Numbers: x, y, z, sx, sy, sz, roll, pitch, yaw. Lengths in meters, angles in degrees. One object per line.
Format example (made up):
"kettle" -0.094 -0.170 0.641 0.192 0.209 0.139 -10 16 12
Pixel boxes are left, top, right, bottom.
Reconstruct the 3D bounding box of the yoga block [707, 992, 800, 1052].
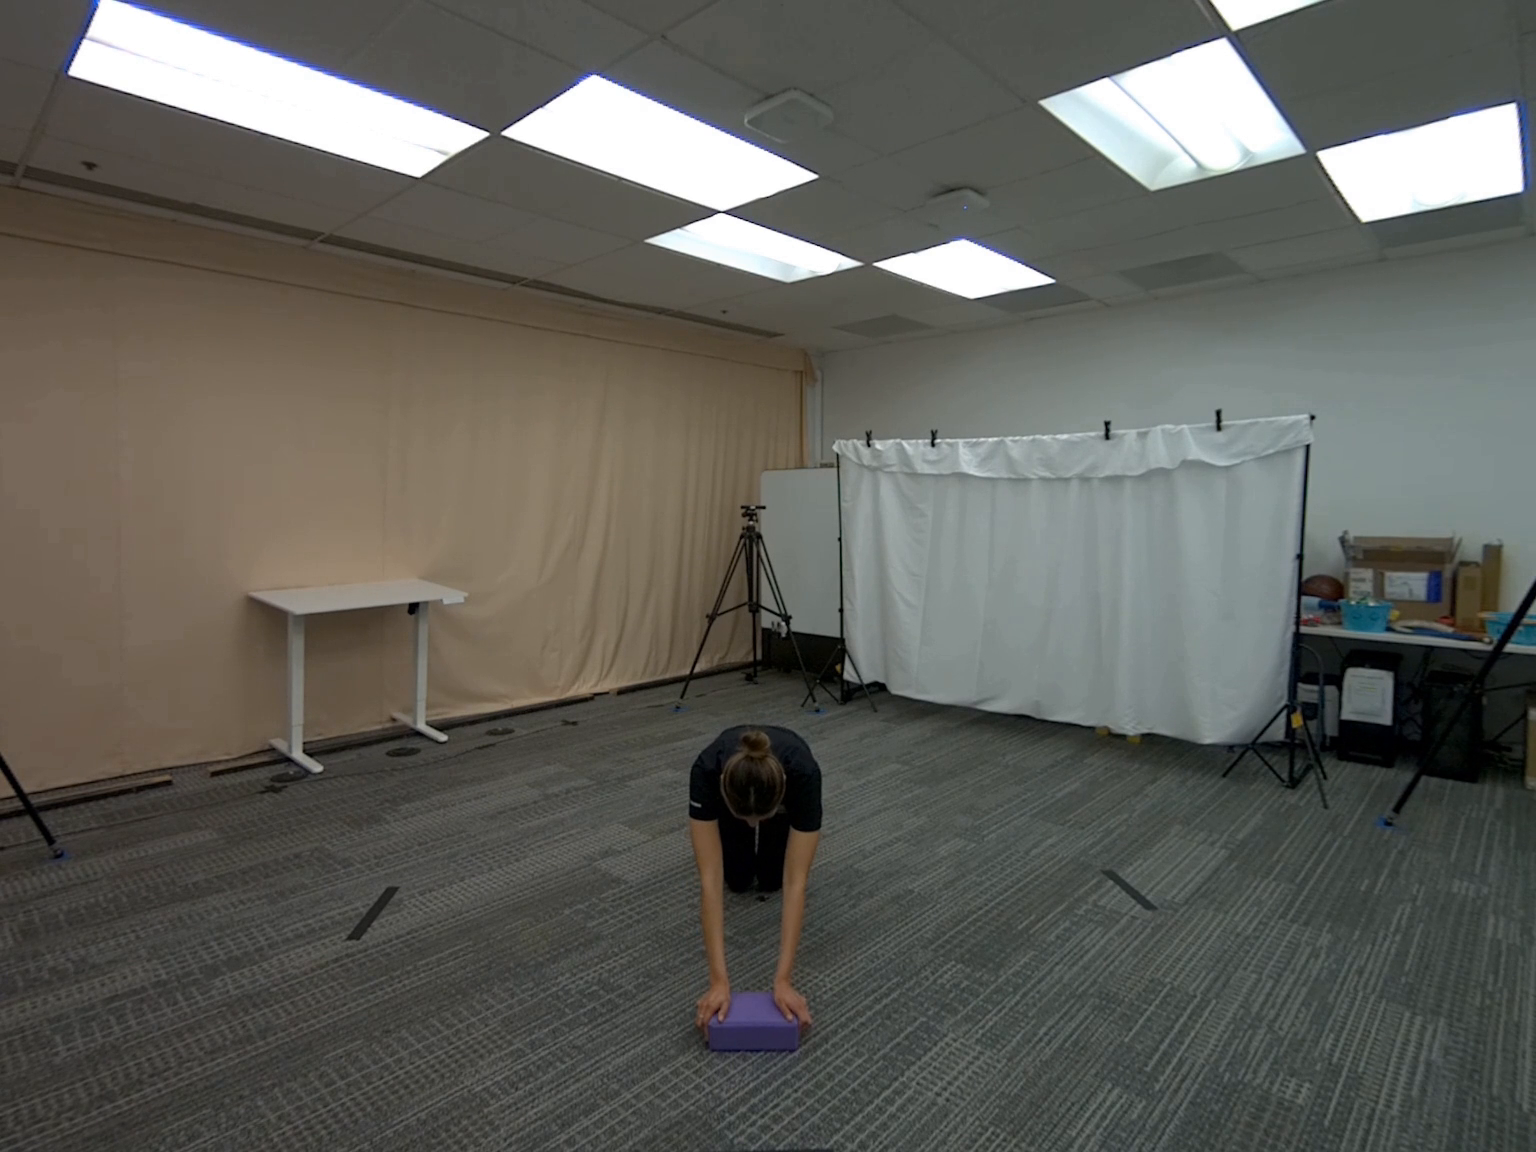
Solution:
"yoga block" -0.045 1.167 2.217 0.229 0.076 0.149 -2 5 0
